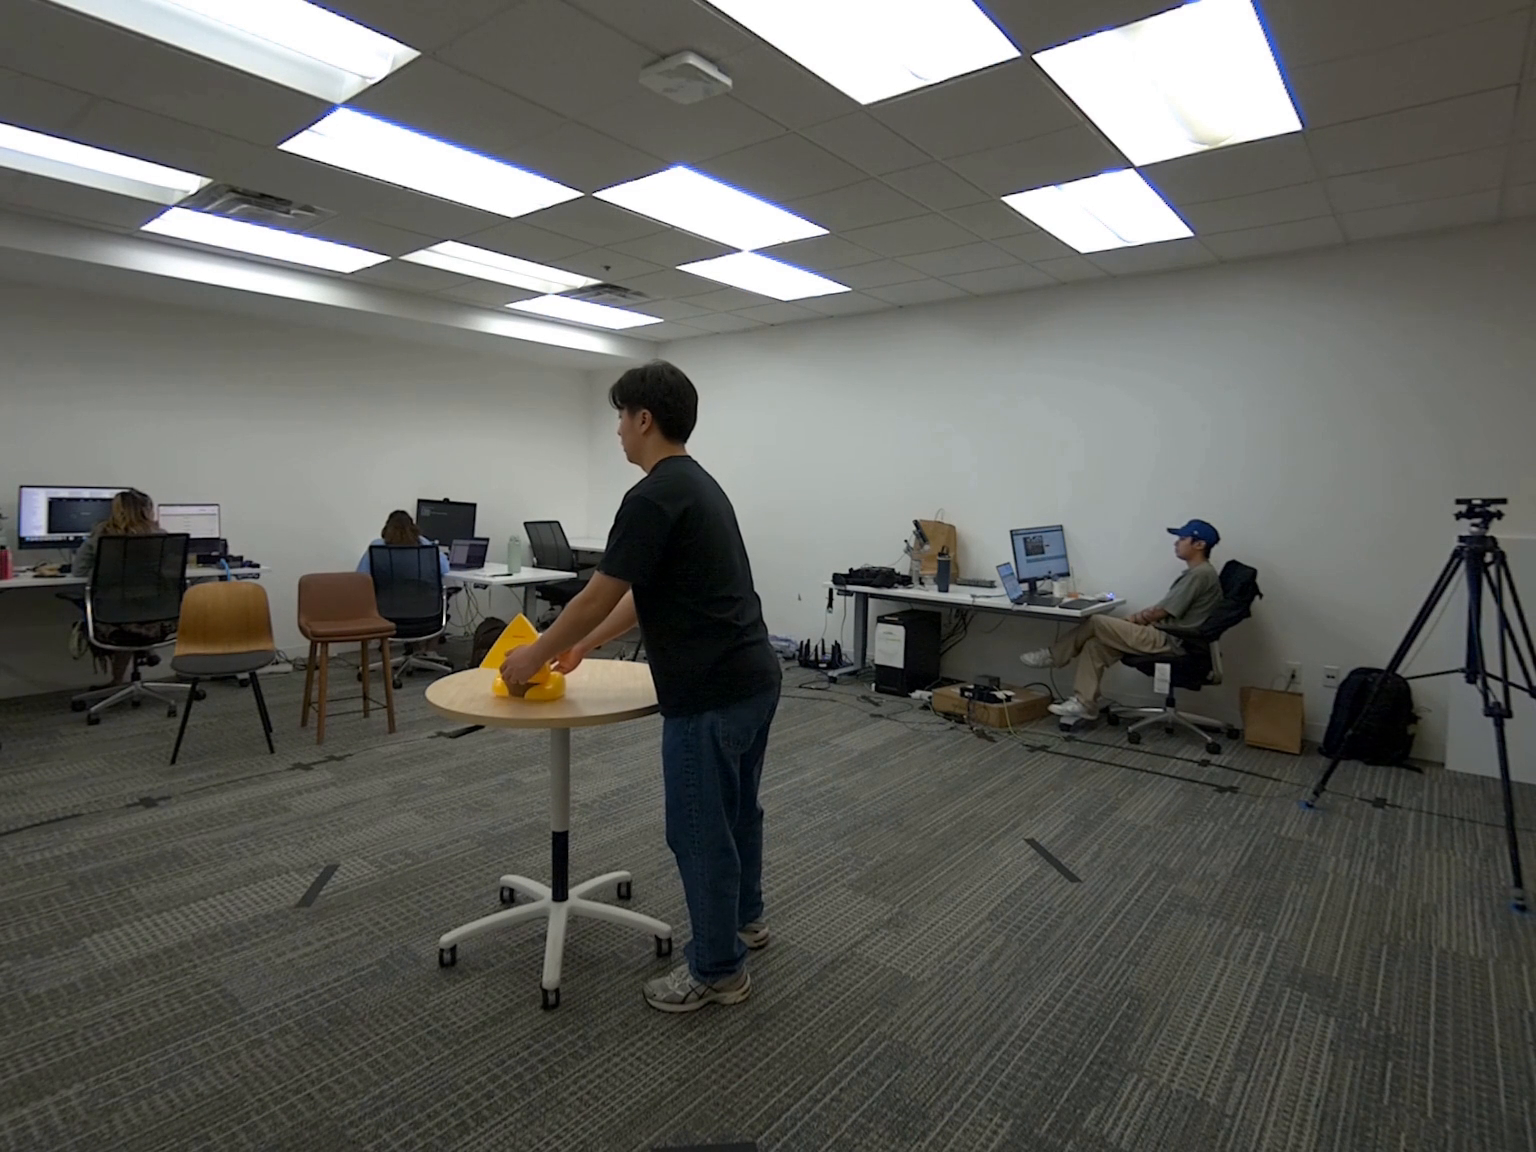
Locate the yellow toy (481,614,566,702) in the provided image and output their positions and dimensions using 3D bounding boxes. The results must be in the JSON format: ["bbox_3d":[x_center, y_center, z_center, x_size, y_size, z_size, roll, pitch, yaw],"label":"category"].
[{"bbox_3d":[-0.684,0.209,2.377,0.208,0.229,0.191,4,6,12],"label":"yellow toy"}]
